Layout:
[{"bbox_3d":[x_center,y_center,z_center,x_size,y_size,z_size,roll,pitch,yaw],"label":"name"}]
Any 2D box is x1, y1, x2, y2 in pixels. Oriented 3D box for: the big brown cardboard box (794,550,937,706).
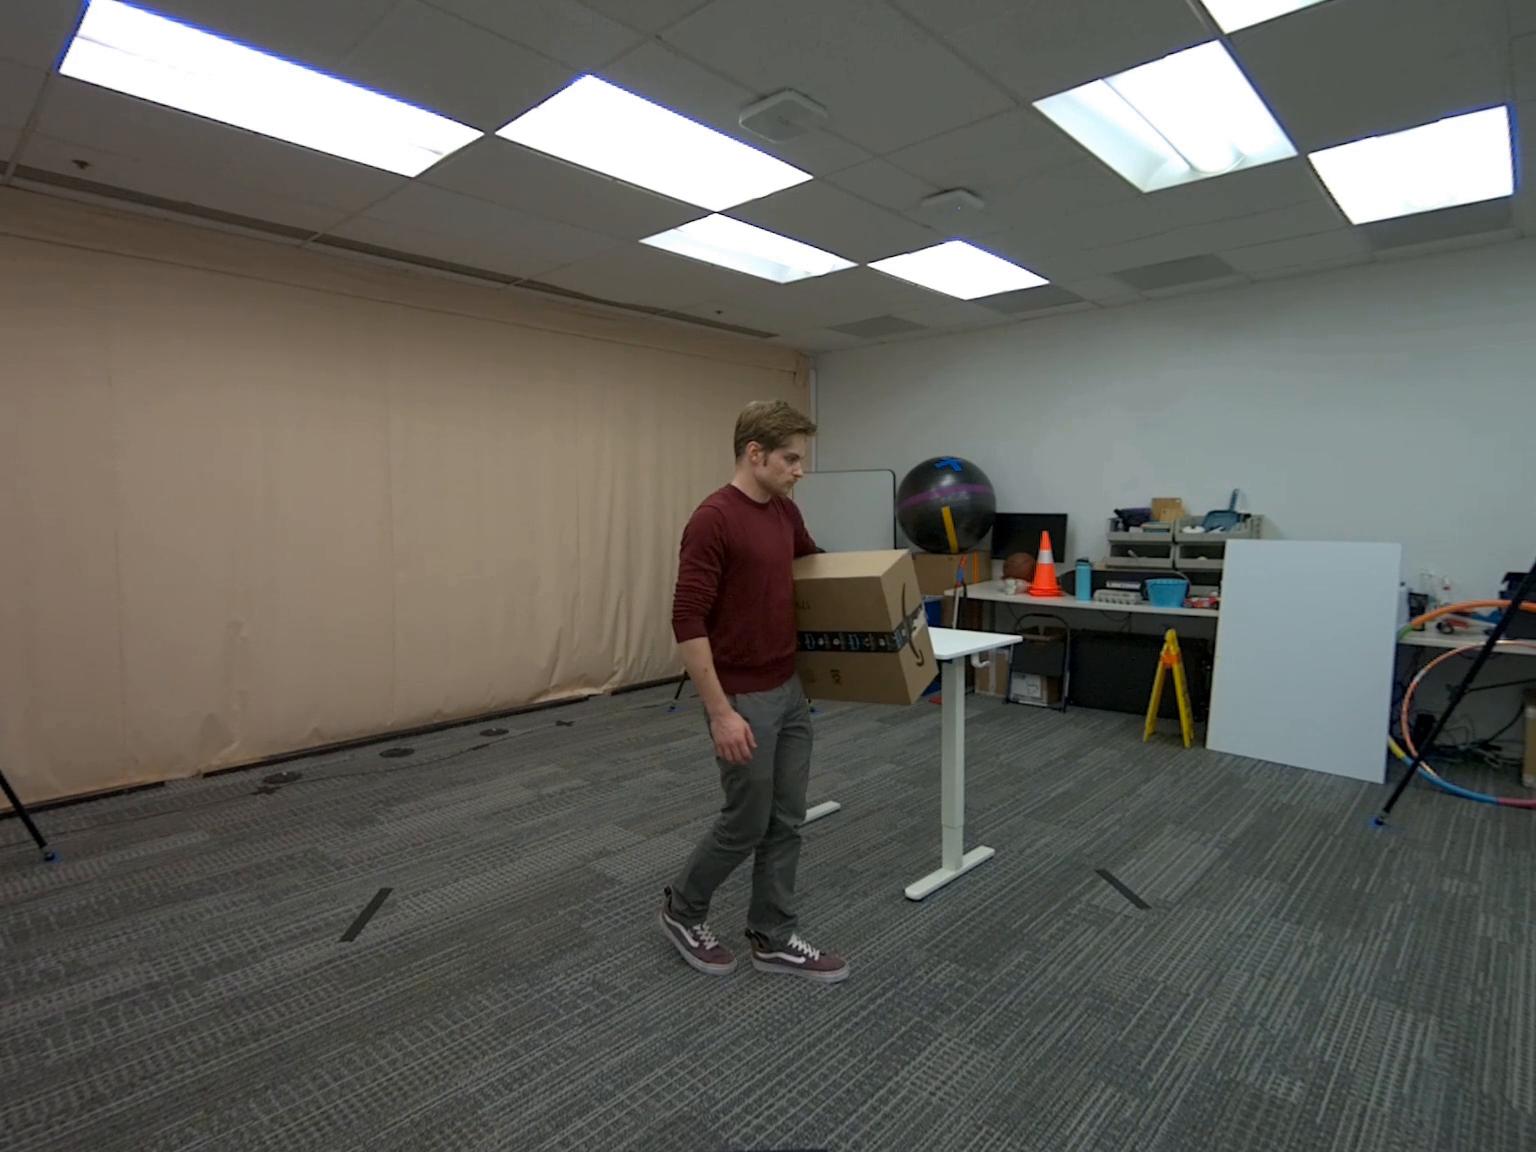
[{"bbox_3d":[0.188,0.161,2.671,0.607,0.412,0.229,-2,20,38],"label":"big brown cardboard box"}]
